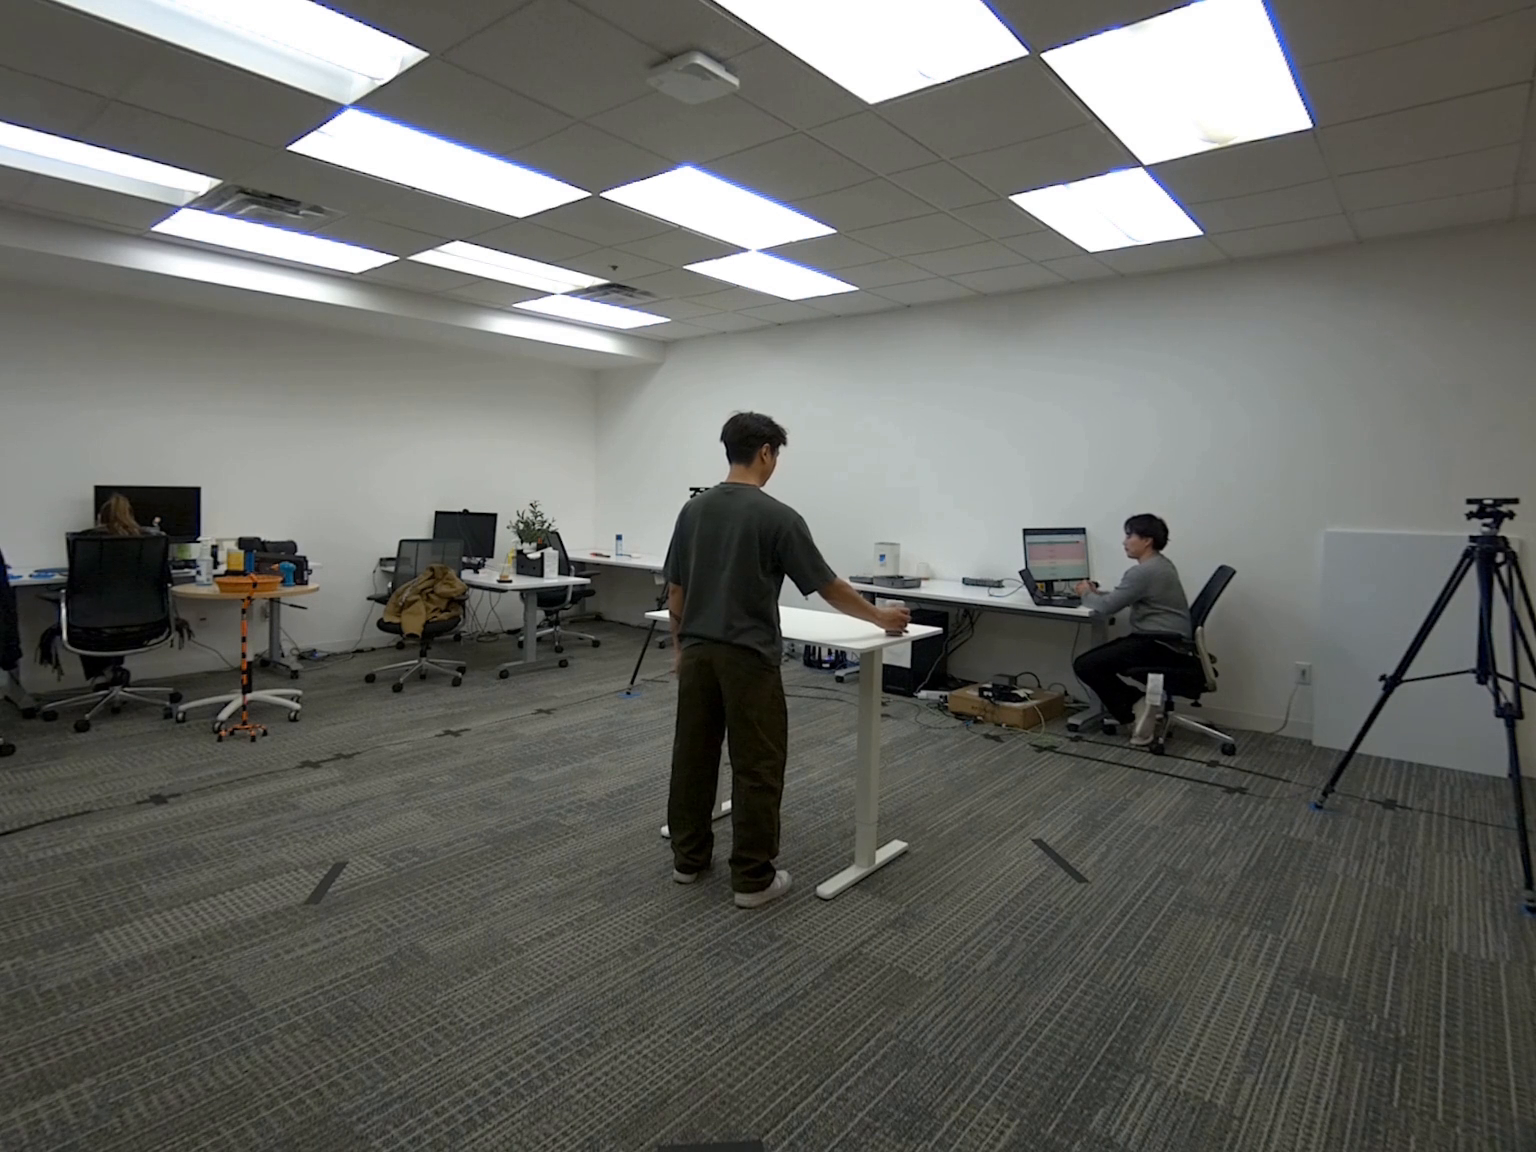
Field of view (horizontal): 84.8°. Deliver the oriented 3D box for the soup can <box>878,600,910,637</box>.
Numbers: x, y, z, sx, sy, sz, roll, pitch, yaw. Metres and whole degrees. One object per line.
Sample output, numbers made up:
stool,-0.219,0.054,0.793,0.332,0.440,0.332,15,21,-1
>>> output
soup can,0.453,0.149,3.035,0.067,0.121,0.067,6,3,-2
